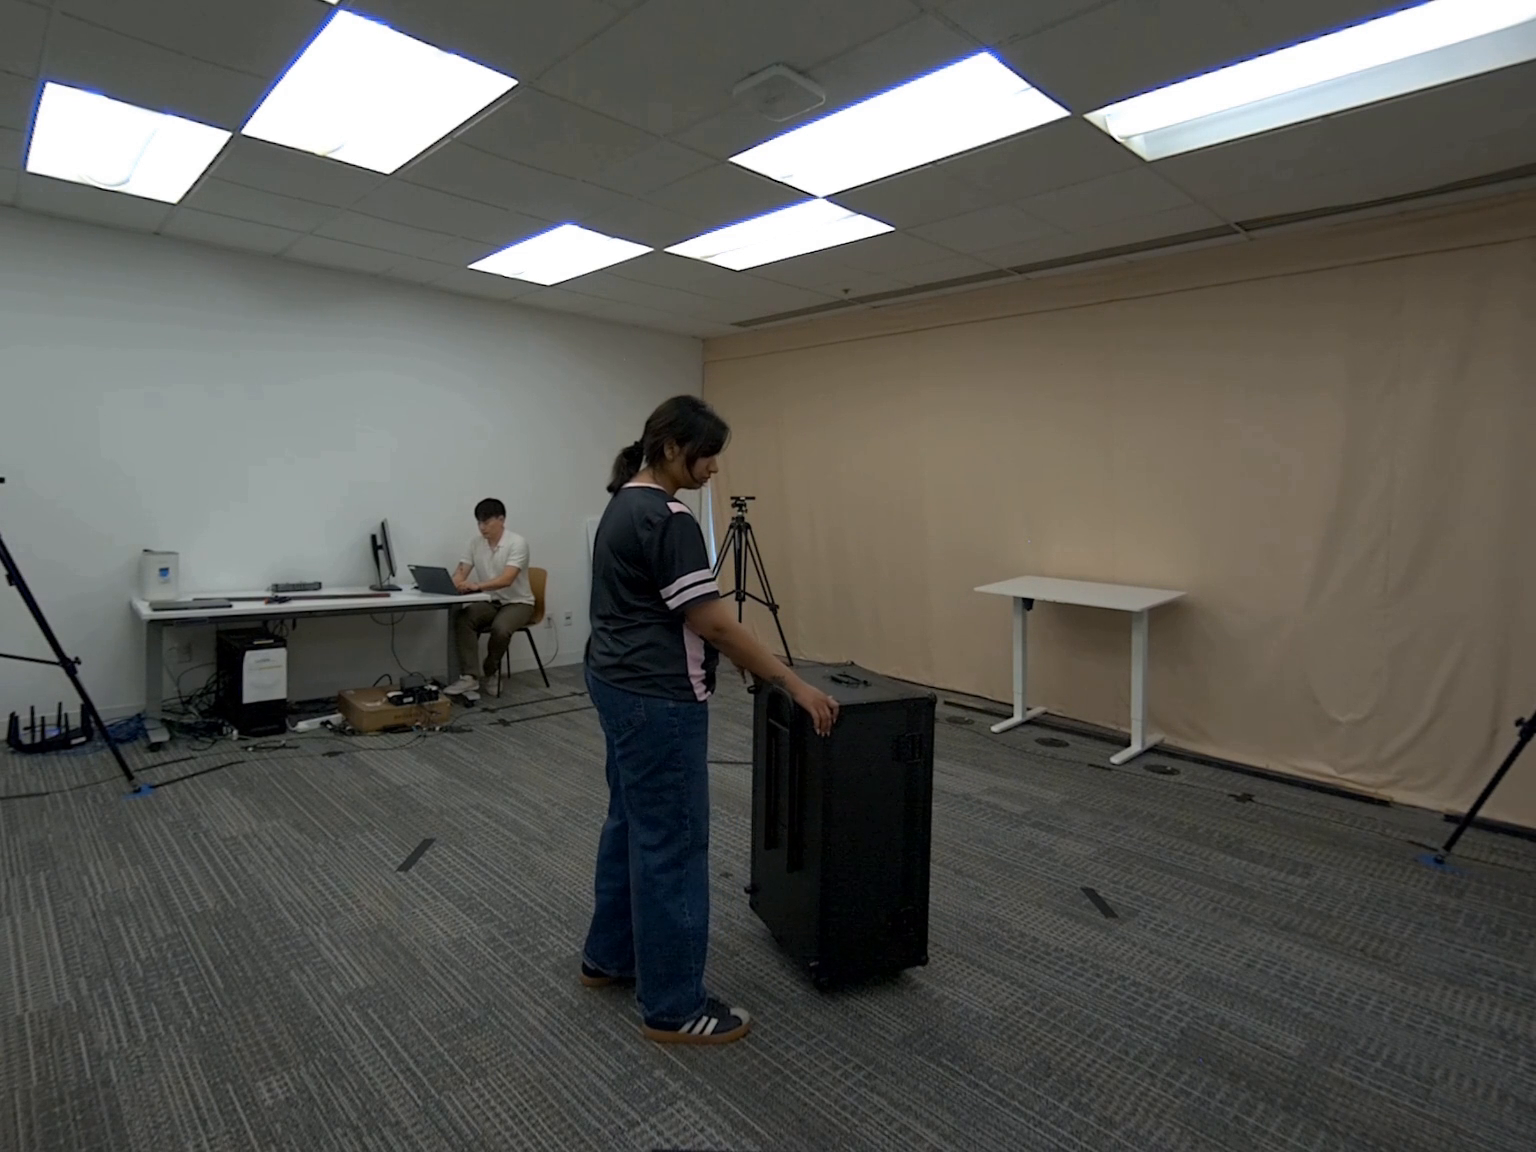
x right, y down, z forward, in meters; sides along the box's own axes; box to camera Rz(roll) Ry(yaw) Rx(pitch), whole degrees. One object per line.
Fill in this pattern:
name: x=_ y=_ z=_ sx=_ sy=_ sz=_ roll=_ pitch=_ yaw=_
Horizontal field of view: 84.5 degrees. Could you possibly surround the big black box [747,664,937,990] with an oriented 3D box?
big black box: x=0.201 y=0.743 z=2.534 sx=0.379 sy=0.866 sz=0.534 roll=-1 pitch=4 yaw=-24
